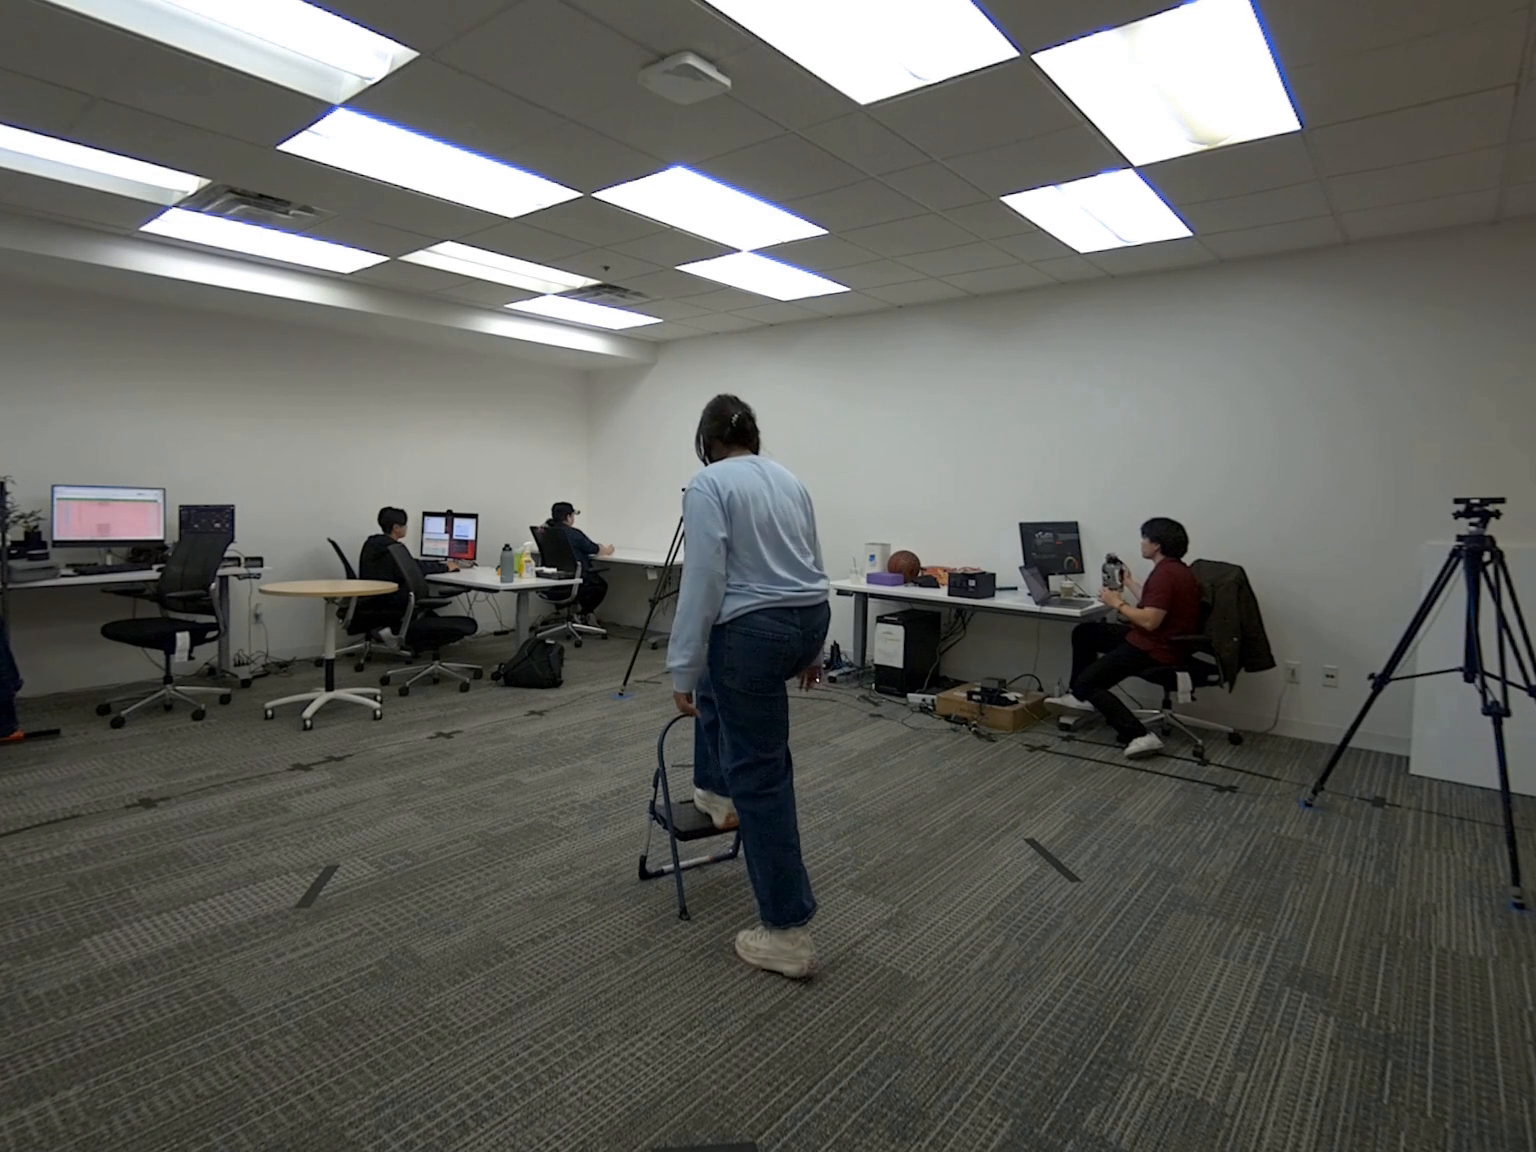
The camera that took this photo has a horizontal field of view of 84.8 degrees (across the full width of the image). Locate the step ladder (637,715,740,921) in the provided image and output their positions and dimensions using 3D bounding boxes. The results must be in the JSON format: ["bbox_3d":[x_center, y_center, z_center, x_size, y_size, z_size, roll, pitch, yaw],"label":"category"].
[{"bbox_3d":[-0.201,0.782,2.976,0.418,0.604,0.360,-1,4,-34],"label":"step ladder"}]
